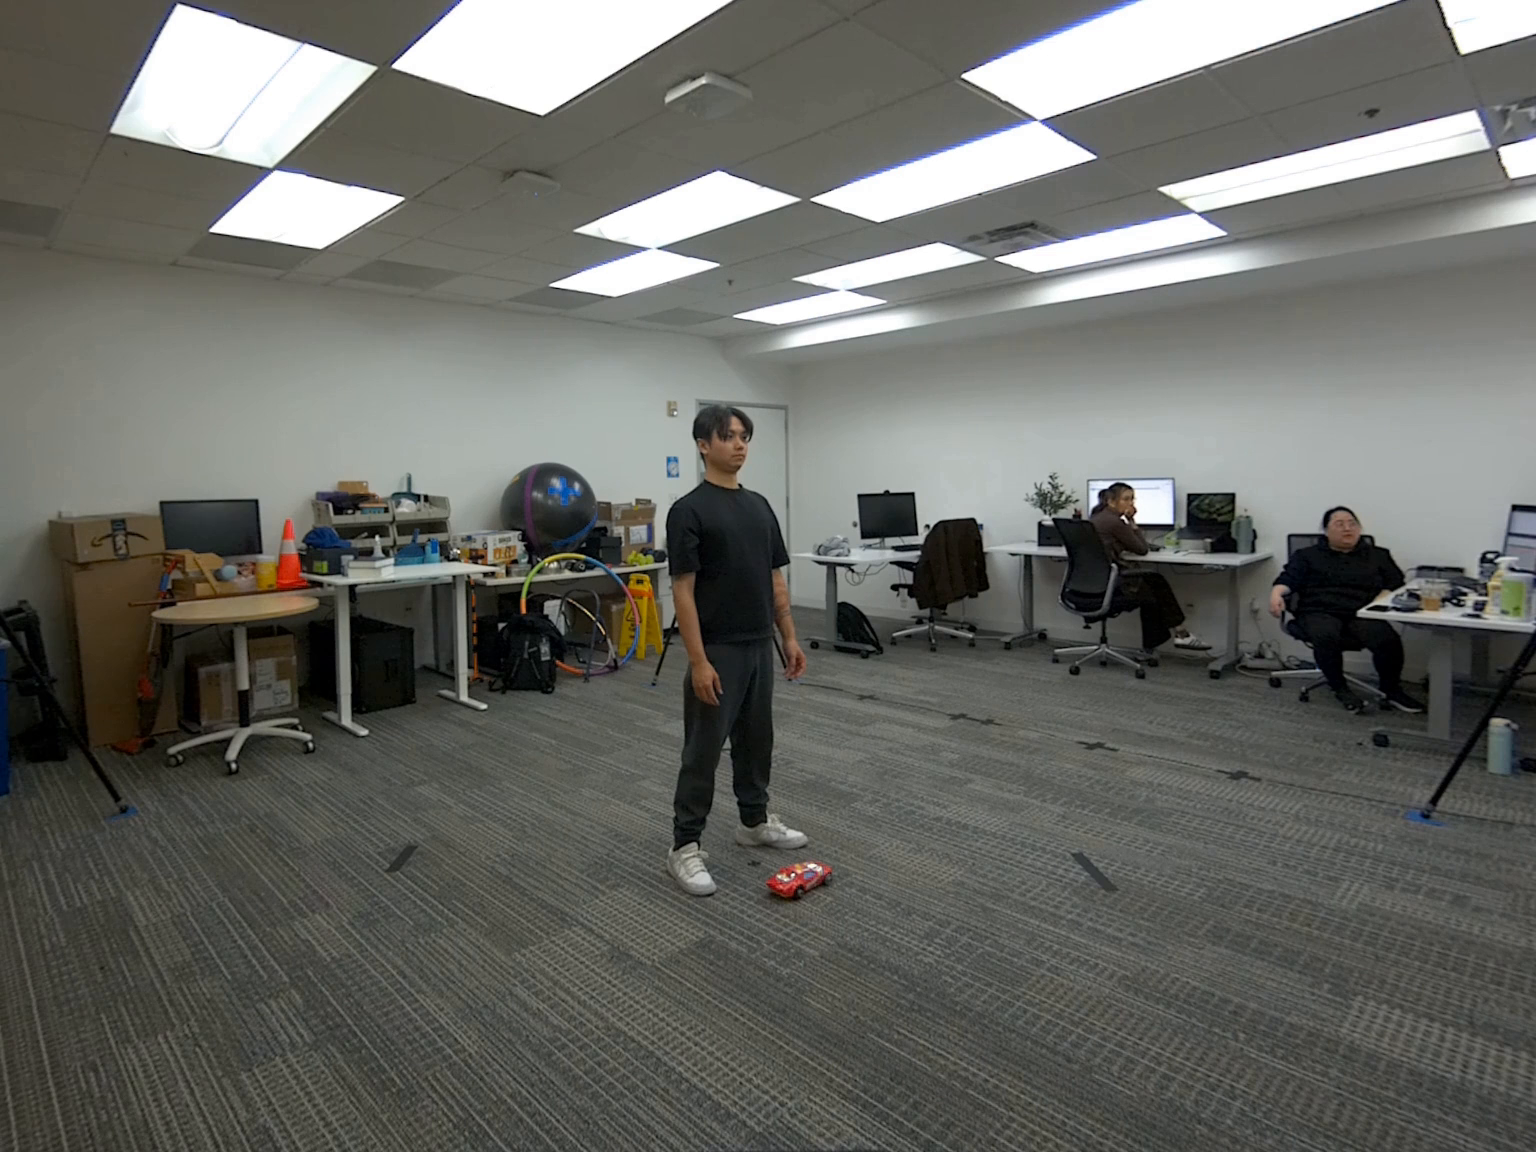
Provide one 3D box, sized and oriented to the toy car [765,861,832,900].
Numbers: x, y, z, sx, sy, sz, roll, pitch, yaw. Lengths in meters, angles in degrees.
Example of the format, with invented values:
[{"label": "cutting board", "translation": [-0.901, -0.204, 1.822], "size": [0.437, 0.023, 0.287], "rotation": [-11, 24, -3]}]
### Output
[{"label": "toy car", "translation": [0.106, 1.037, 2.900], "size": [0.246, 0.083, 0.134], "rotation": [8, -1, -42]}]
